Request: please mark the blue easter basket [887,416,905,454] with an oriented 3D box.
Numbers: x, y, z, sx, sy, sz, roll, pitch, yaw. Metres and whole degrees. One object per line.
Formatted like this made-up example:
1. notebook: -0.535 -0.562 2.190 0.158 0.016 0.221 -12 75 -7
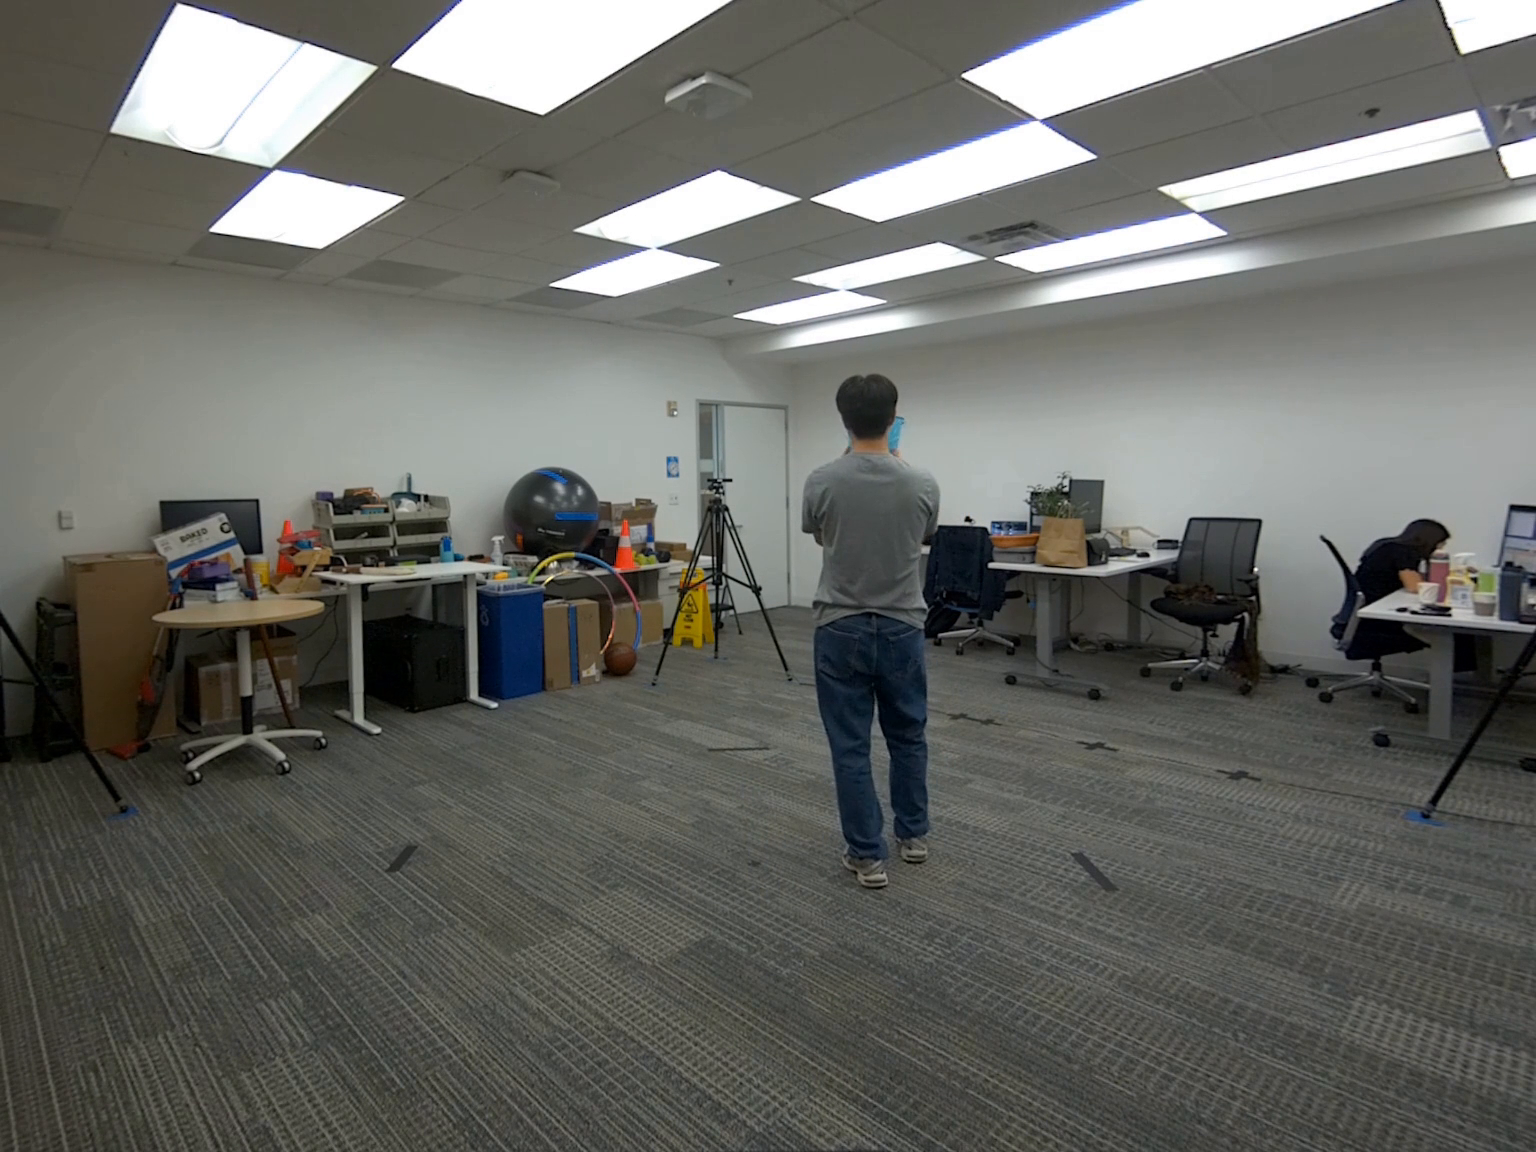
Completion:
1. blue easter basket: 0.415 -0.539 3.314 0.243 0.156 0.243 4 -1 -2
